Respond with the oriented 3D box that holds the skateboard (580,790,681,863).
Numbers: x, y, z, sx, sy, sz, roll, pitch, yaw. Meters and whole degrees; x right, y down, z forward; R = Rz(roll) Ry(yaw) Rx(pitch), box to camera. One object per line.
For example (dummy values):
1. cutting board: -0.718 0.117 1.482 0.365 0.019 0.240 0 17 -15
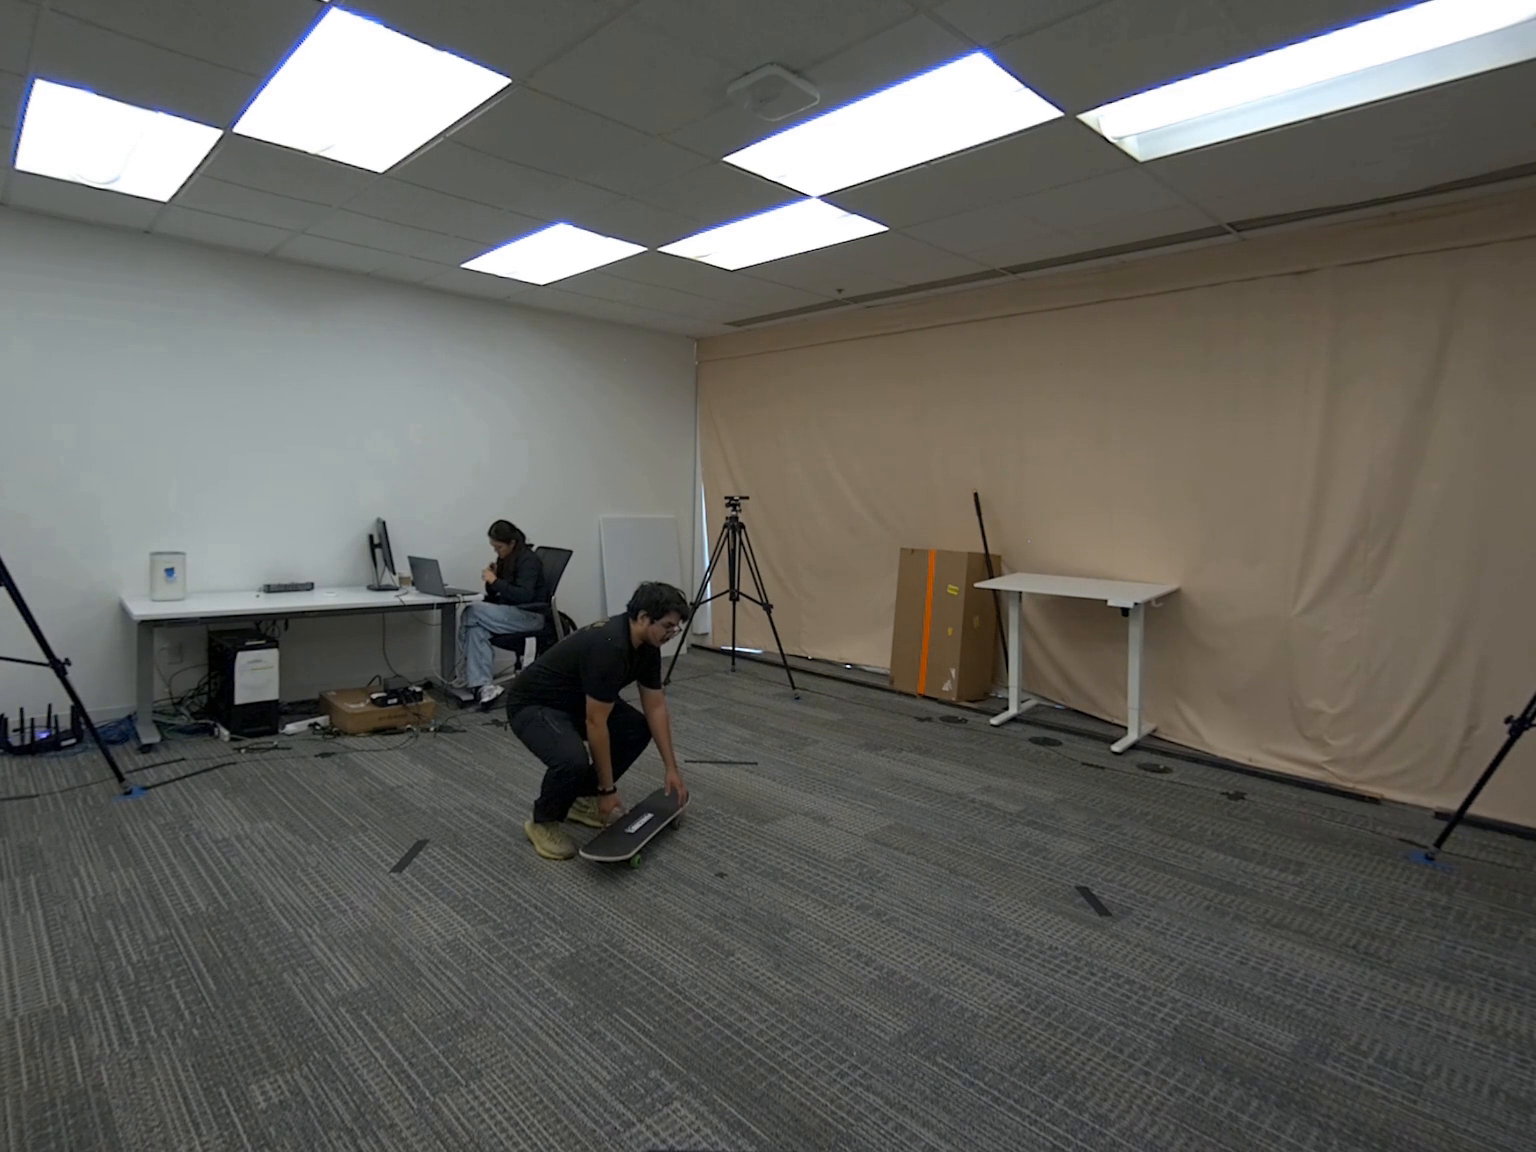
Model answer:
1. skateboard: -0.513 1.014 3.352 0.196 0.110 0.776 3 5 16
